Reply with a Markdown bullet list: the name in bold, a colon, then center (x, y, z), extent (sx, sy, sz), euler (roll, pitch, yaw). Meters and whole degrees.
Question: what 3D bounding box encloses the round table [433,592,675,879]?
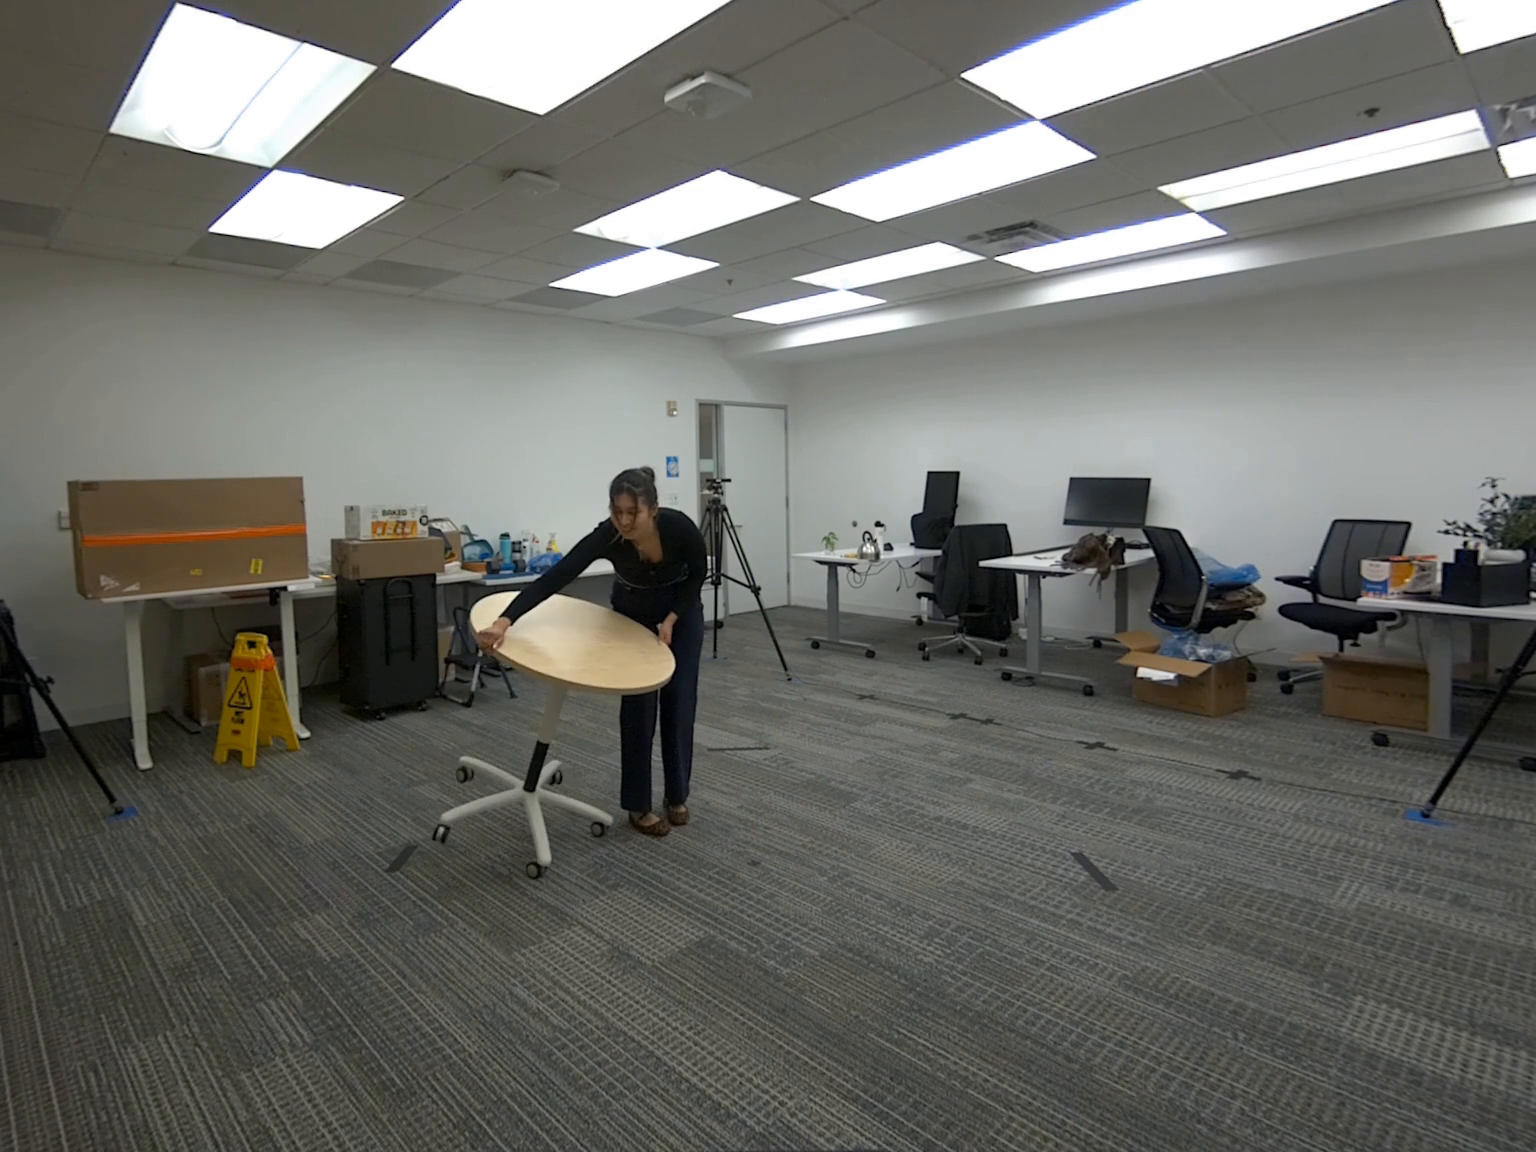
- **round table**: center (-0.833, 0.591, 3.218), extent (0.759, 0.788, 0.775), euler (17, 14, -6)
